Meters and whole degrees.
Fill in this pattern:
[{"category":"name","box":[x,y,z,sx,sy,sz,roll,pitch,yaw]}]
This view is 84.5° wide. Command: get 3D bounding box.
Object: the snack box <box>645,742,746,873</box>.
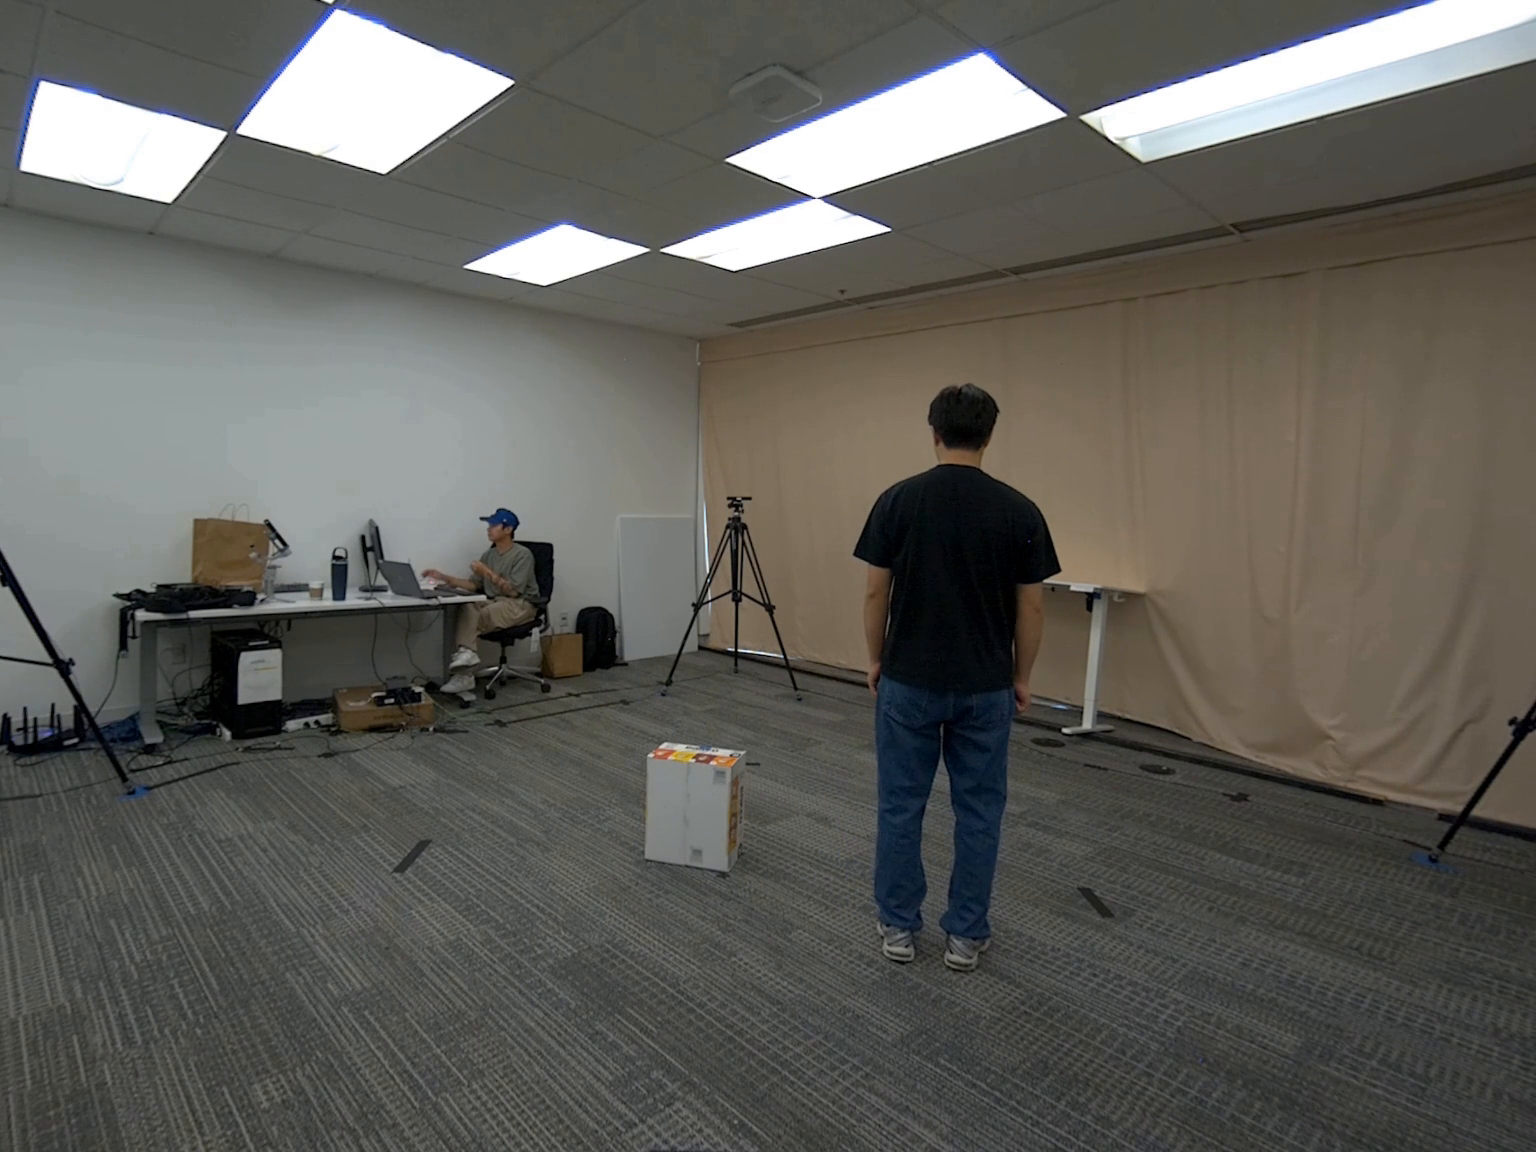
[{"category":"snack box","box":[-0.285,0.886,3.255,0.345,0.404,0.203,3,3,16]}]
